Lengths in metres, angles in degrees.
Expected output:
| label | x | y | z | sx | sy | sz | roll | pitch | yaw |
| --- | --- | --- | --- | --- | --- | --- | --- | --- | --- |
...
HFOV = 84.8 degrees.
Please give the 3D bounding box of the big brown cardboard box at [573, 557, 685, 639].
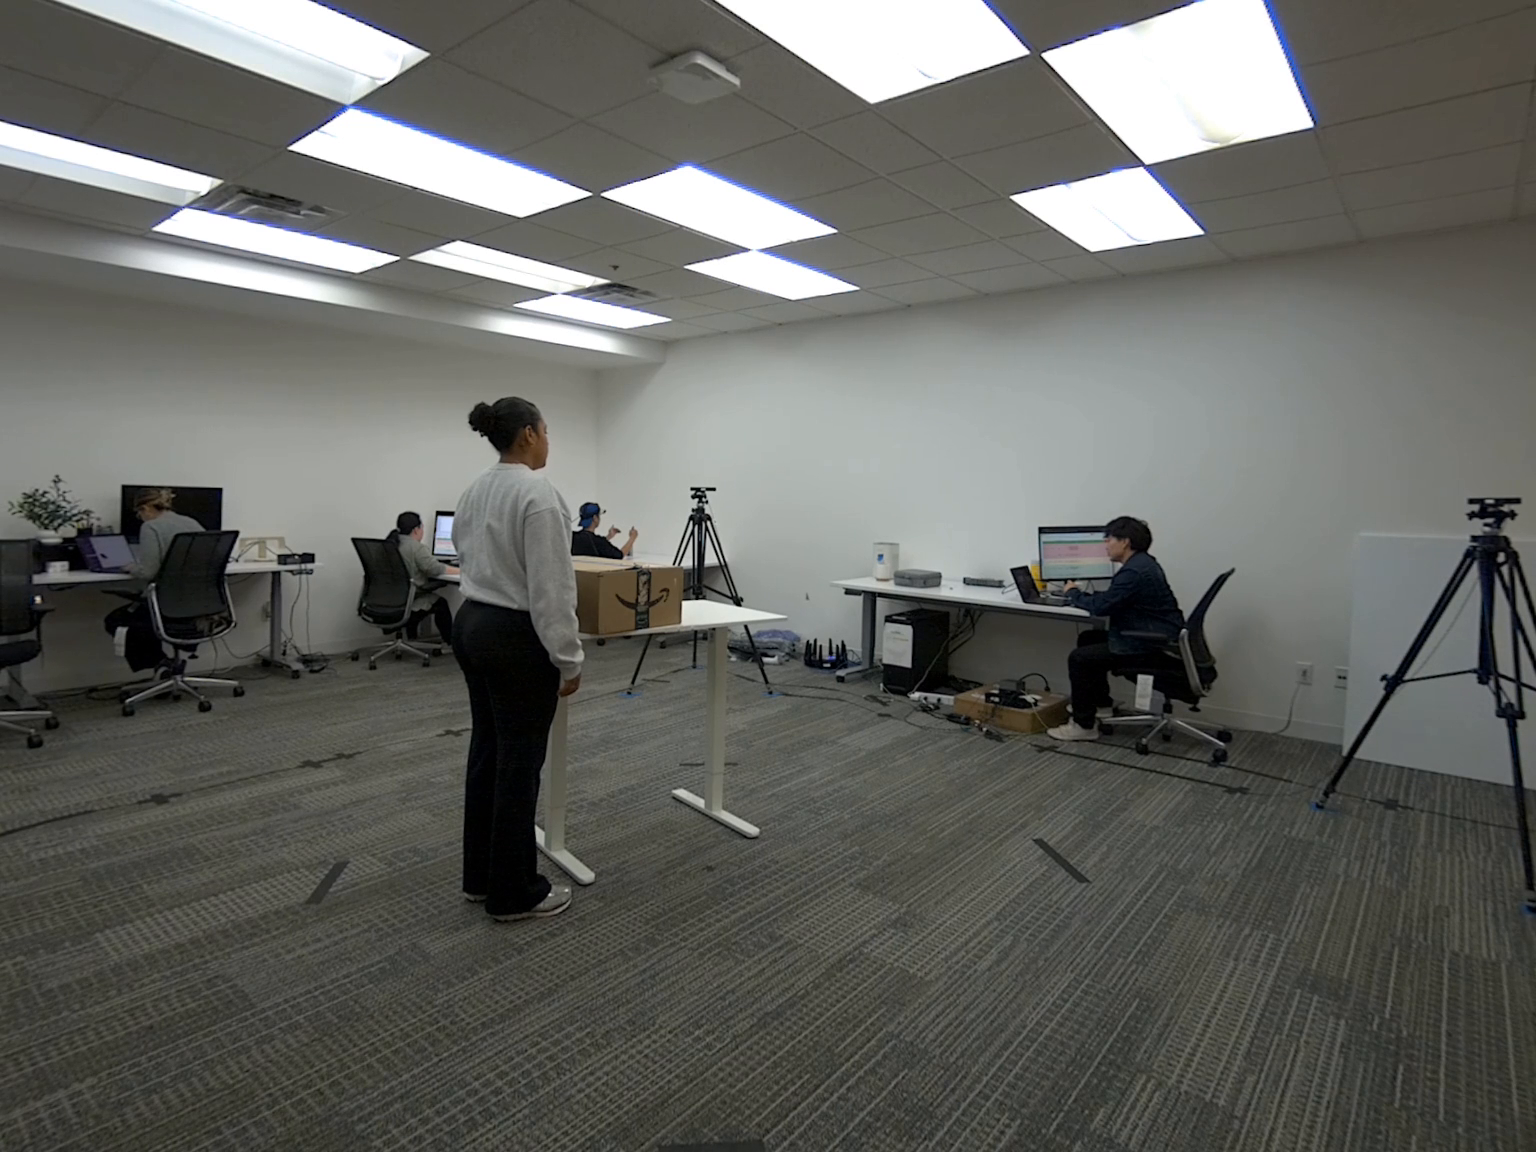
| label | x | y | z | sx | sy | sz | roll | pitch | yaw |
| --- | --- | --- | --- | --- | --- | --- | --- | --- | --- |
| big brown cardboard box | -0.677 | 0.060 | 3.180 | 0.608 | 0.232 | 0.405 | 4 | 6 | 39 |
